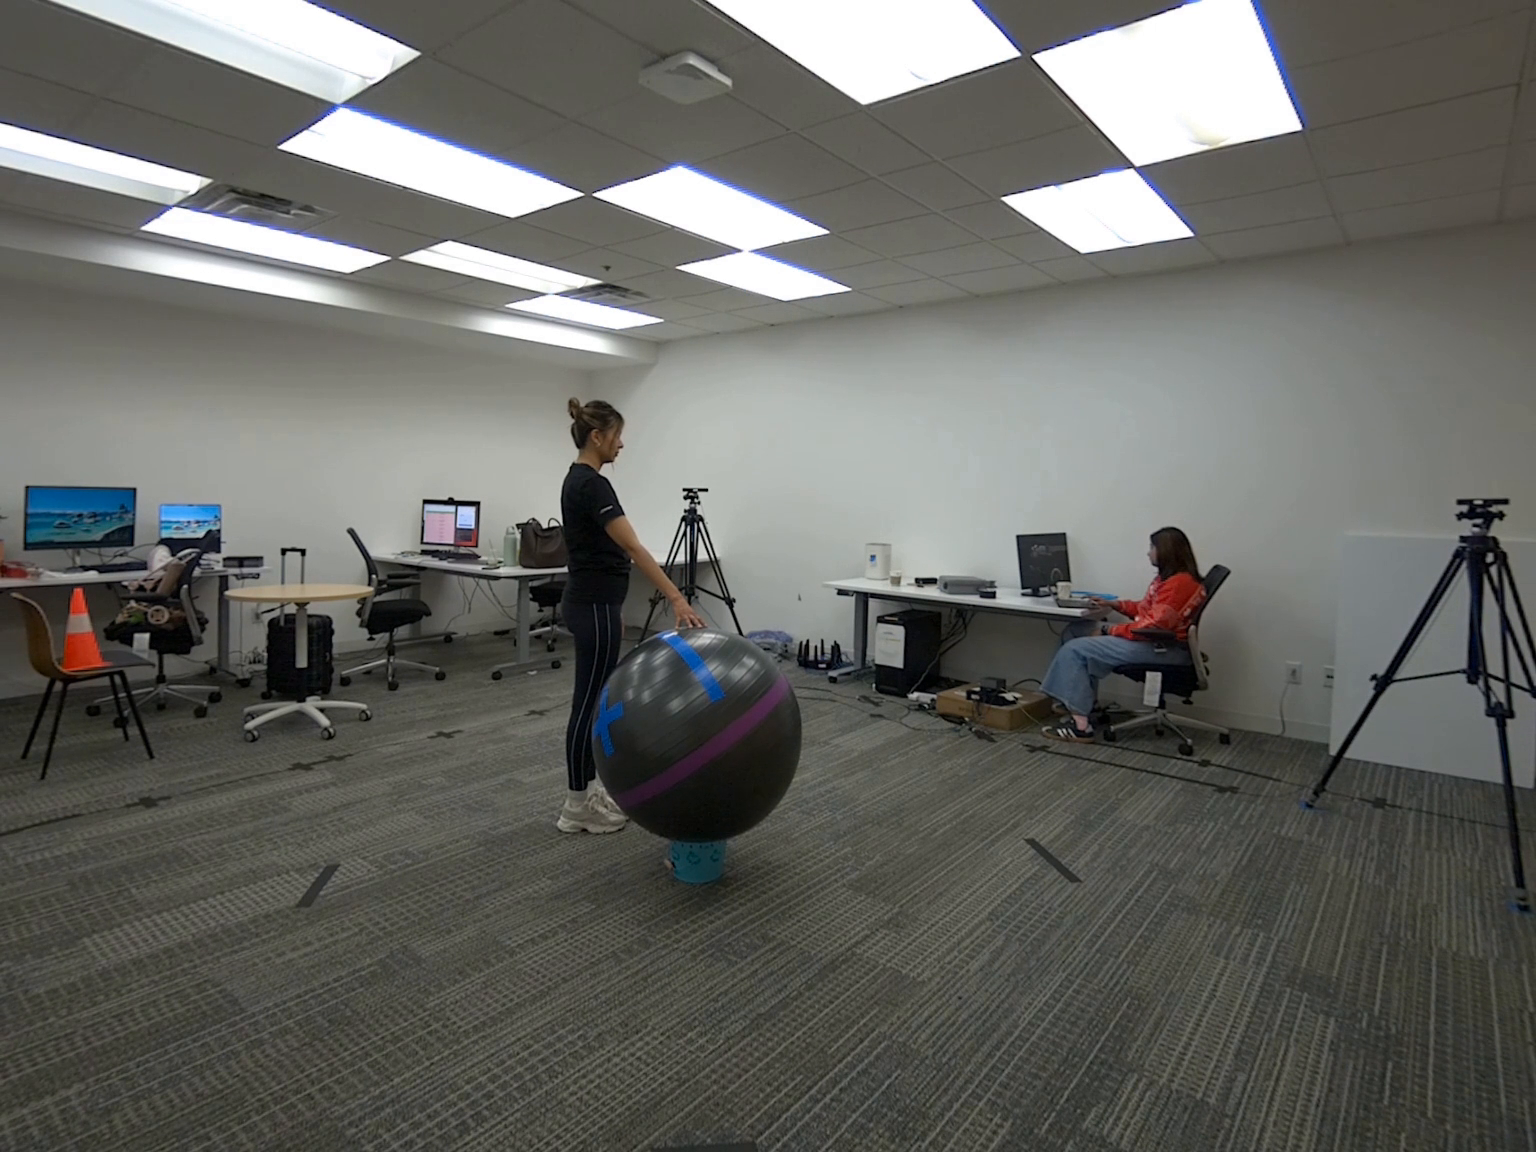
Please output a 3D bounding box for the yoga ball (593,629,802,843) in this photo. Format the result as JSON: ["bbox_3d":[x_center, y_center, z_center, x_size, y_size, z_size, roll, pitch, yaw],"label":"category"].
[{"bbox_3d":[-0.267,0.567,3.071,0.757,0.755,0.762,1,4,-2],"label":"yoga ball"}]
